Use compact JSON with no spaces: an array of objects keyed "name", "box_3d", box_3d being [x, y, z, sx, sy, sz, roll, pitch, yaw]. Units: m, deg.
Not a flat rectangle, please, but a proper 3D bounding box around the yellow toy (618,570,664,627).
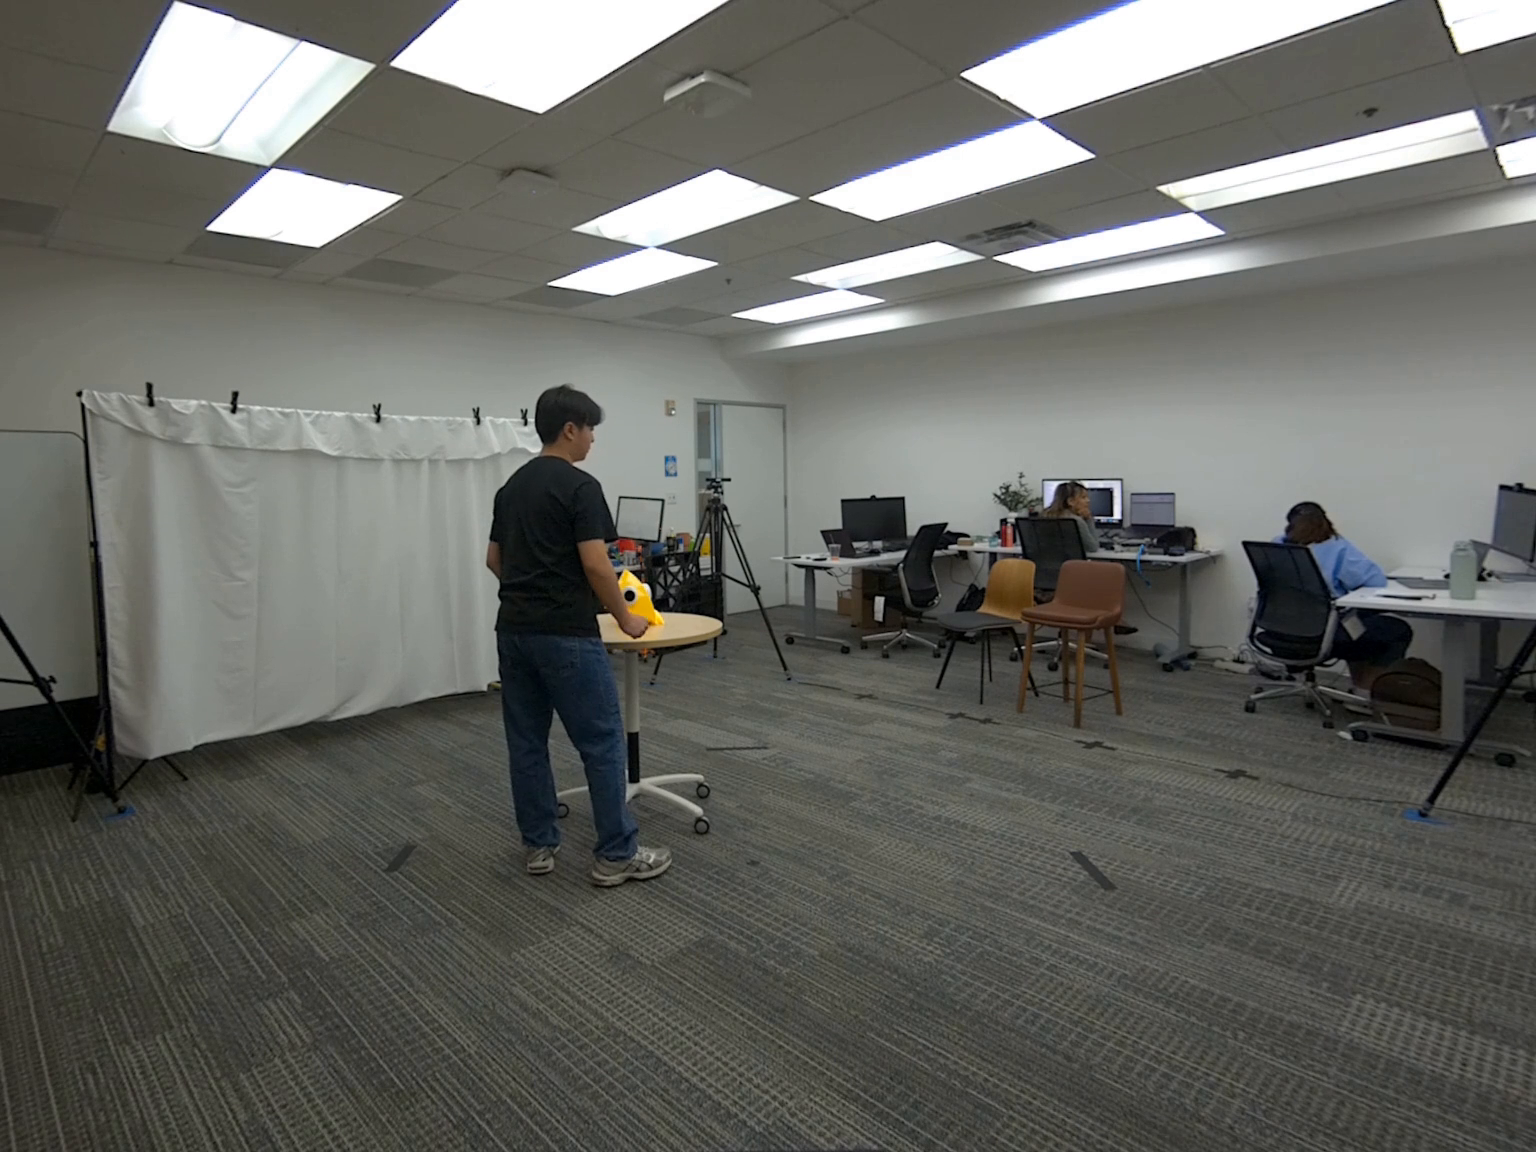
[{"name":"yellow toy","box_3d":[-0.542,0.090,3.561,0.198,0.230,0.200,2,5,30]}]
